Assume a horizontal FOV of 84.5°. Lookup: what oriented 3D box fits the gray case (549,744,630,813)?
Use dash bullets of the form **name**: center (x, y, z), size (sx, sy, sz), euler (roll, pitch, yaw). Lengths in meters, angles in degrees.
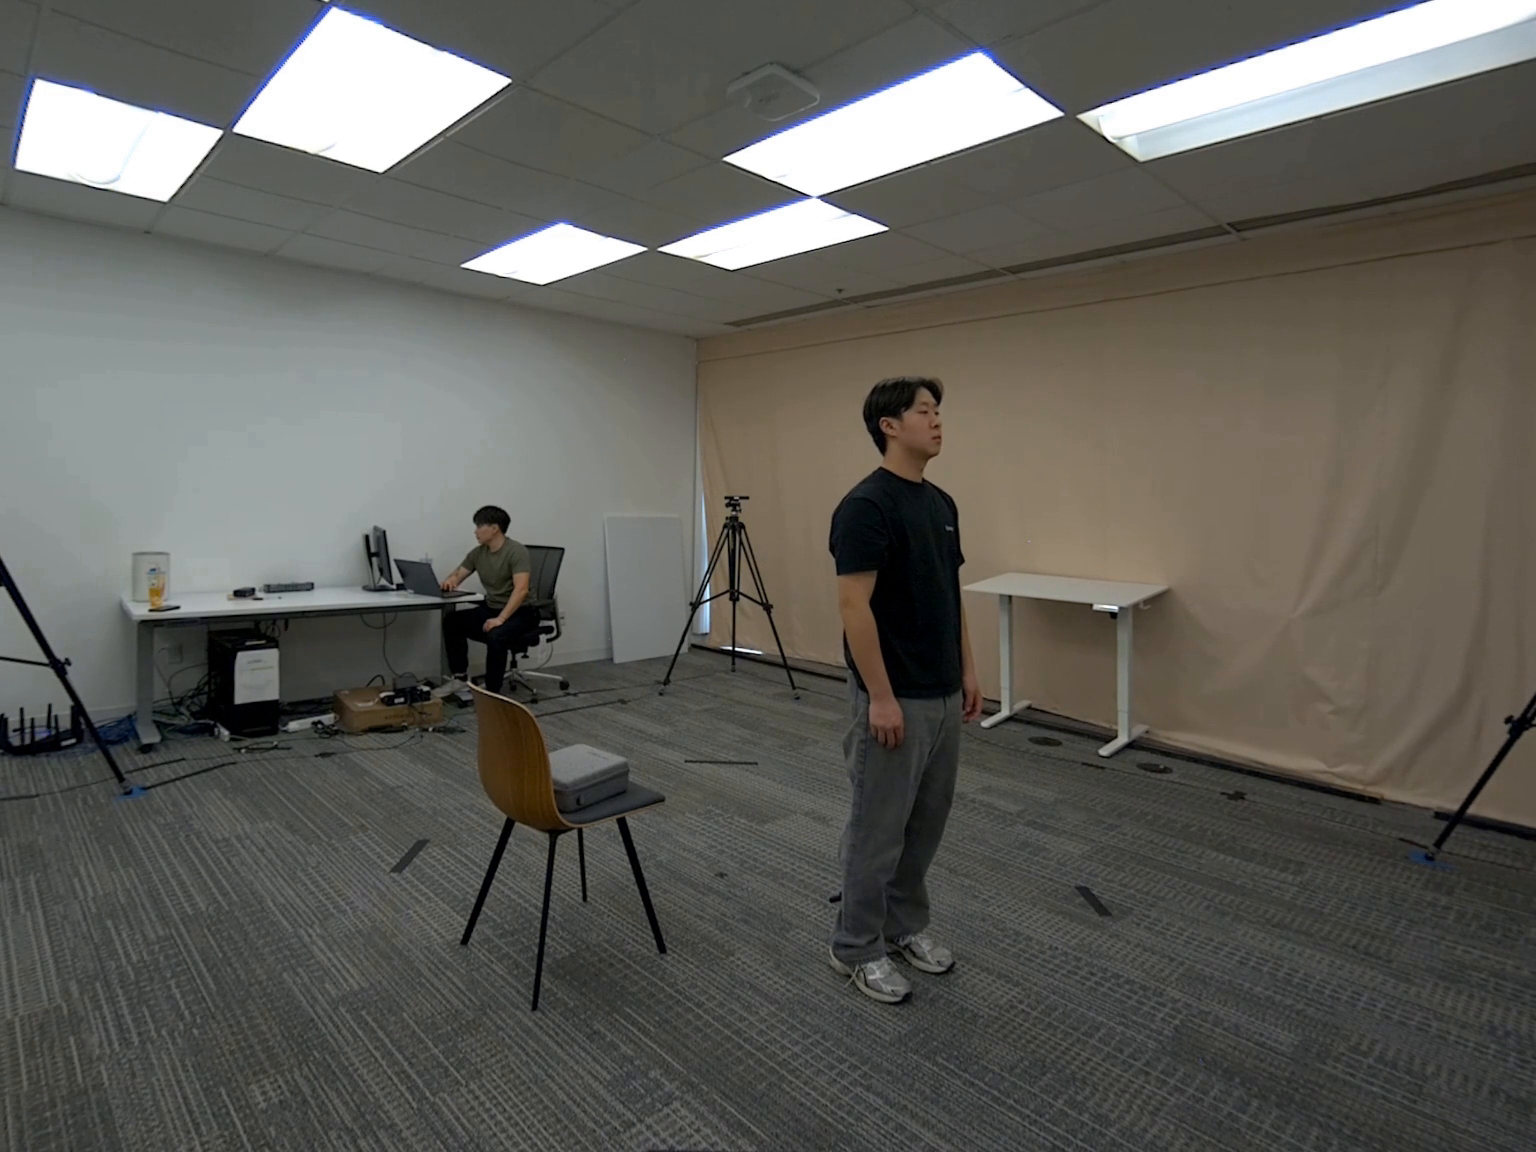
- **gray case**: center (-0.594, 0.611, 2.553), size (0.270, 0.102, 0.281), euler (6, 11, 41)
